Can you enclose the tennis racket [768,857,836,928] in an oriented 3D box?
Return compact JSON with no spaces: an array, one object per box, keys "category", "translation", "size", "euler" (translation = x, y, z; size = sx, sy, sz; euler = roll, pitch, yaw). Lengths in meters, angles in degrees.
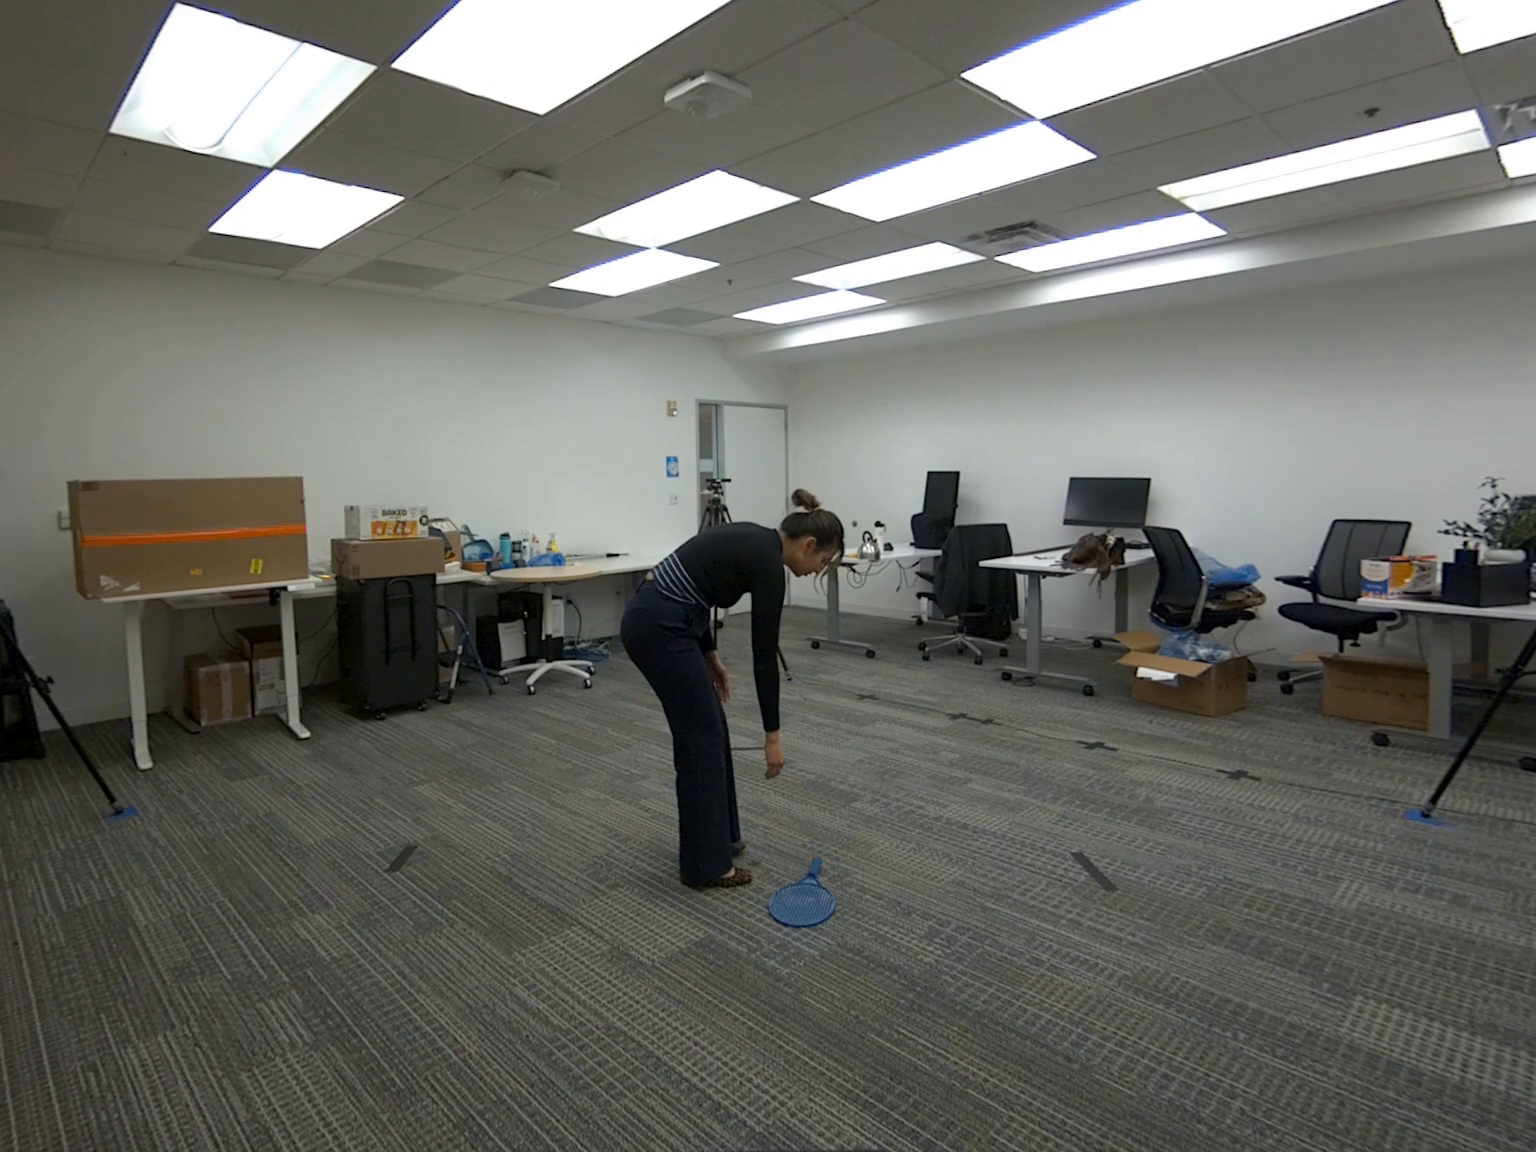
[{"category":"tennis racket","translation":[0.125,1.054,2.864],"size":[0.216,0.031,0.431],"euler":[0,8,10]}]
